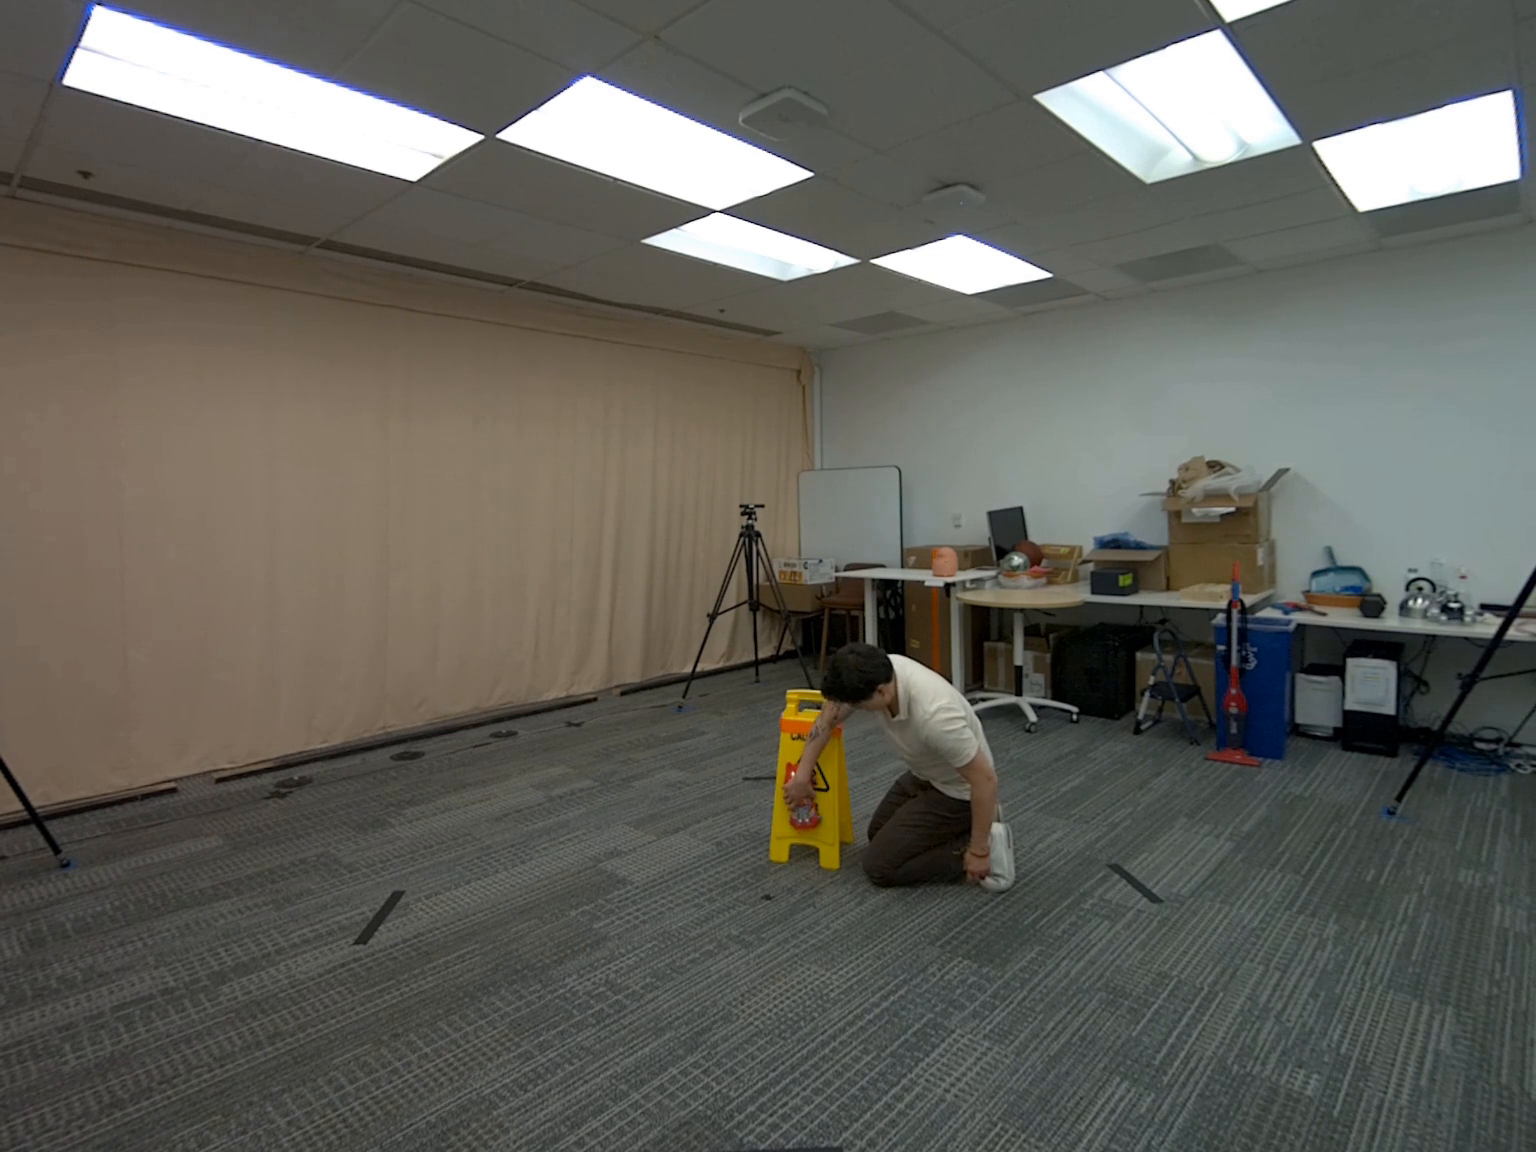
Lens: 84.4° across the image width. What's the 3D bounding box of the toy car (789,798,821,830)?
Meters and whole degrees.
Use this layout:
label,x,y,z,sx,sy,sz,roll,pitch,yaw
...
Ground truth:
label,x,y,z,sx,sy,sz,roll,pitch,yaw
toy car,0.145,0.849,3.259,0.132,0.255,0.081,-9,-4,17
